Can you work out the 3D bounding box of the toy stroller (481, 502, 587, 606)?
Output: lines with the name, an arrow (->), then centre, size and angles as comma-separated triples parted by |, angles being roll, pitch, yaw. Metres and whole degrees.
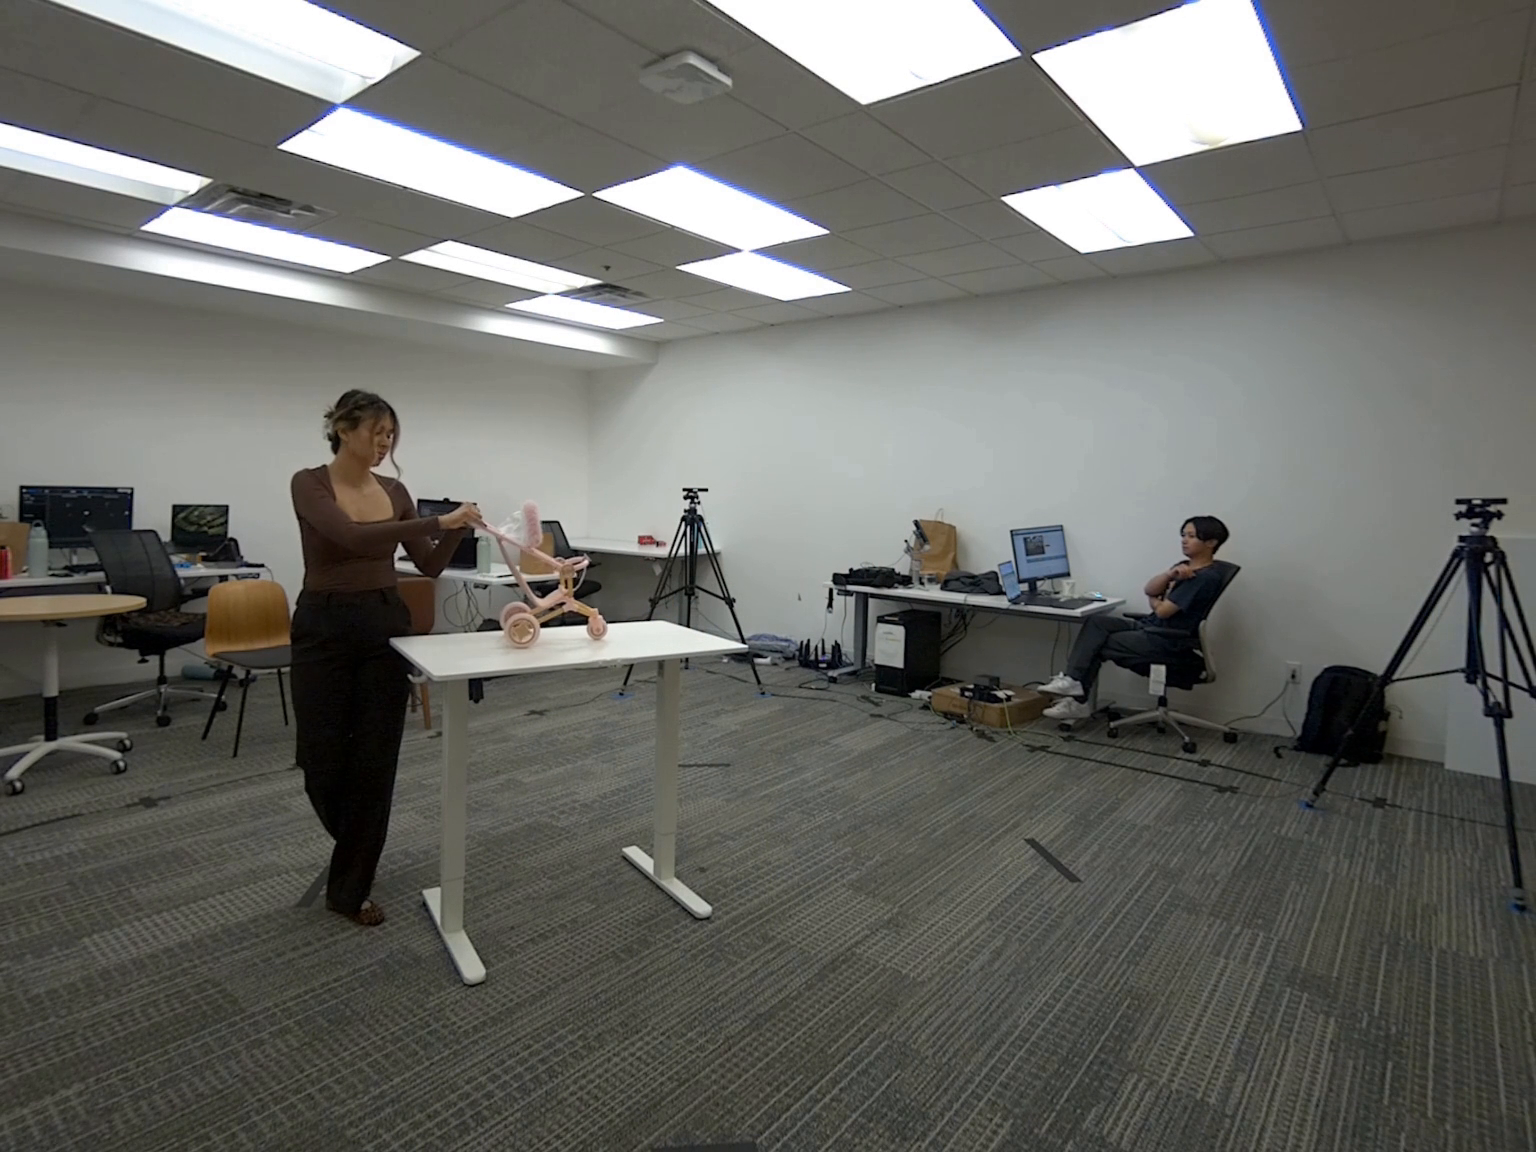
toy stroller -> -0.758, -0.007, 2.754 | 0.338, 0.530, 0.286 | -16, 7, -13
